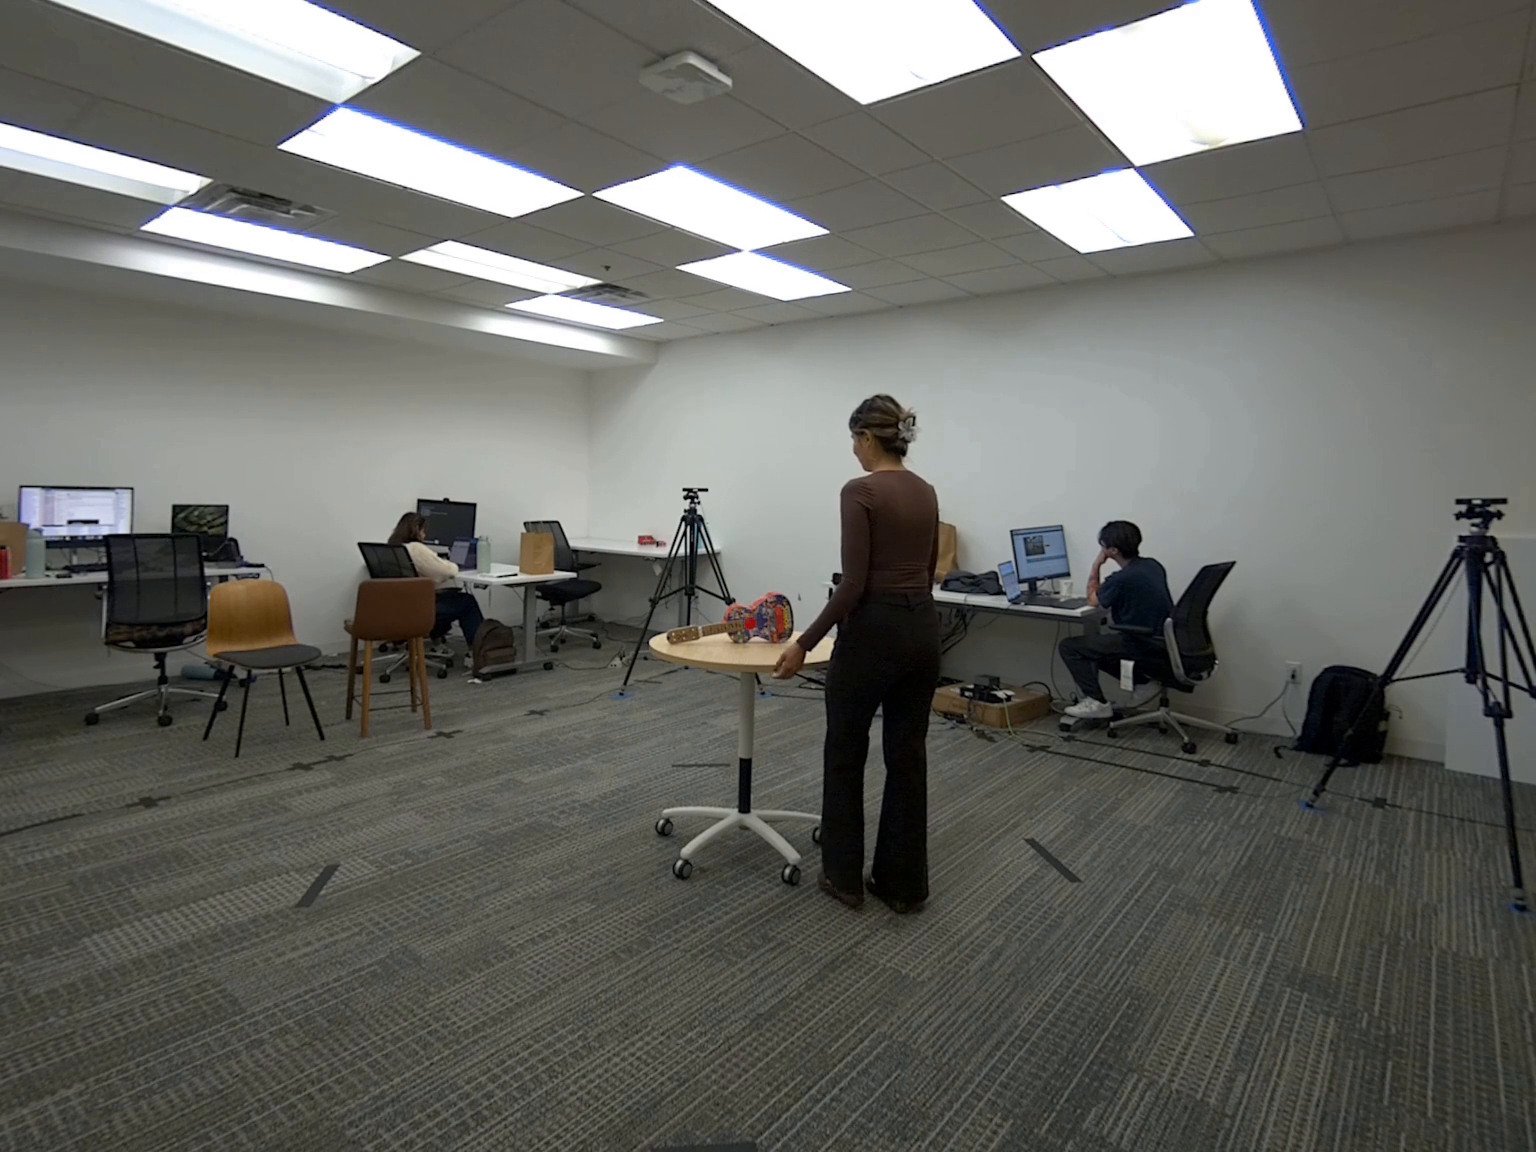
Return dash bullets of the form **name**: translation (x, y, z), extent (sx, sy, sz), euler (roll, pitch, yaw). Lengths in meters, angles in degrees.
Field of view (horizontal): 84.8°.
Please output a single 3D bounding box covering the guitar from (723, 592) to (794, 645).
- **guitar**: translation (-0.156, 0.167, 3.287), extent (0.492, 0.191, 0.072), euler (0, 8, -11)
